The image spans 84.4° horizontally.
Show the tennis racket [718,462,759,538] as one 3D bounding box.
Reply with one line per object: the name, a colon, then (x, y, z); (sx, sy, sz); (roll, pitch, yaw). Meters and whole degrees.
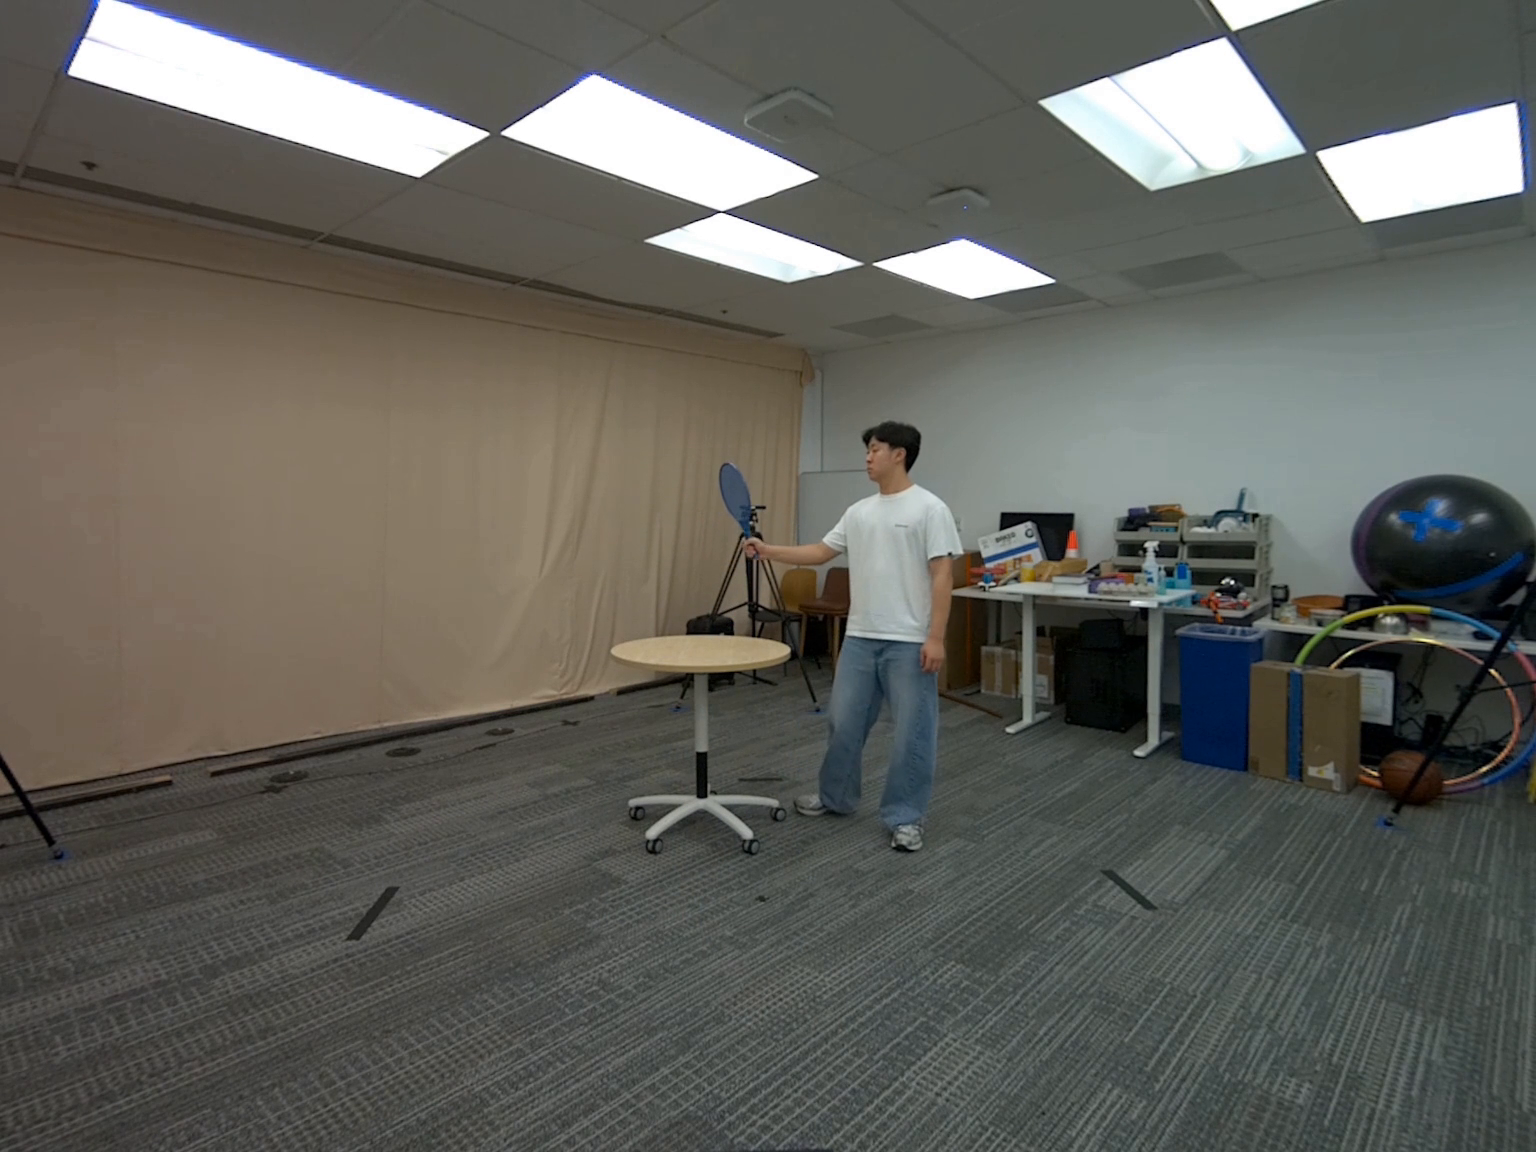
tennis racket: (-0.121, -0.279, 3.635); (0.031, 0.431, 0.219); (-18, 4, -32)
